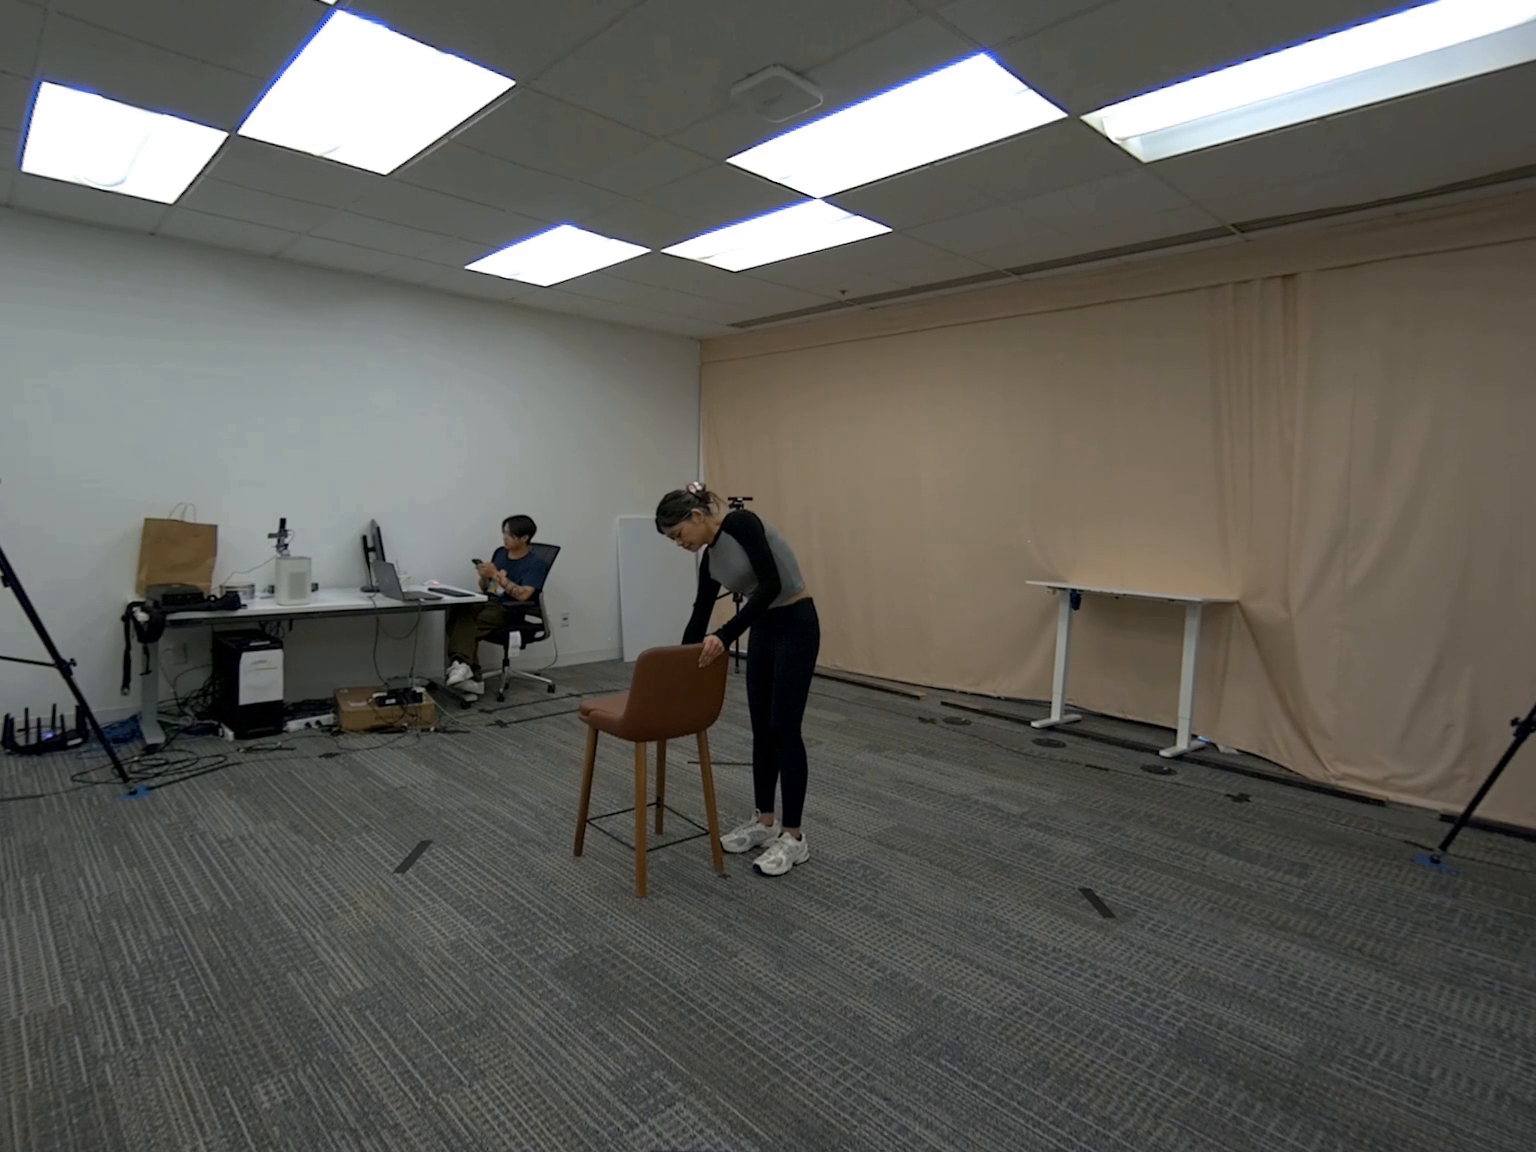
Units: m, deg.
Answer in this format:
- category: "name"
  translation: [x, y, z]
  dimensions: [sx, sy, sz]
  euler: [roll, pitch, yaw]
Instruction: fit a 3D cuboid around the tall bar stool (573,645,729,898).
- category: "tall bar stool"
  translation: [-0.446, 0.657, 3.171]
  dimensions: [0.446, 0.886, 0.480]
  euler: [-1, 7, -41]
